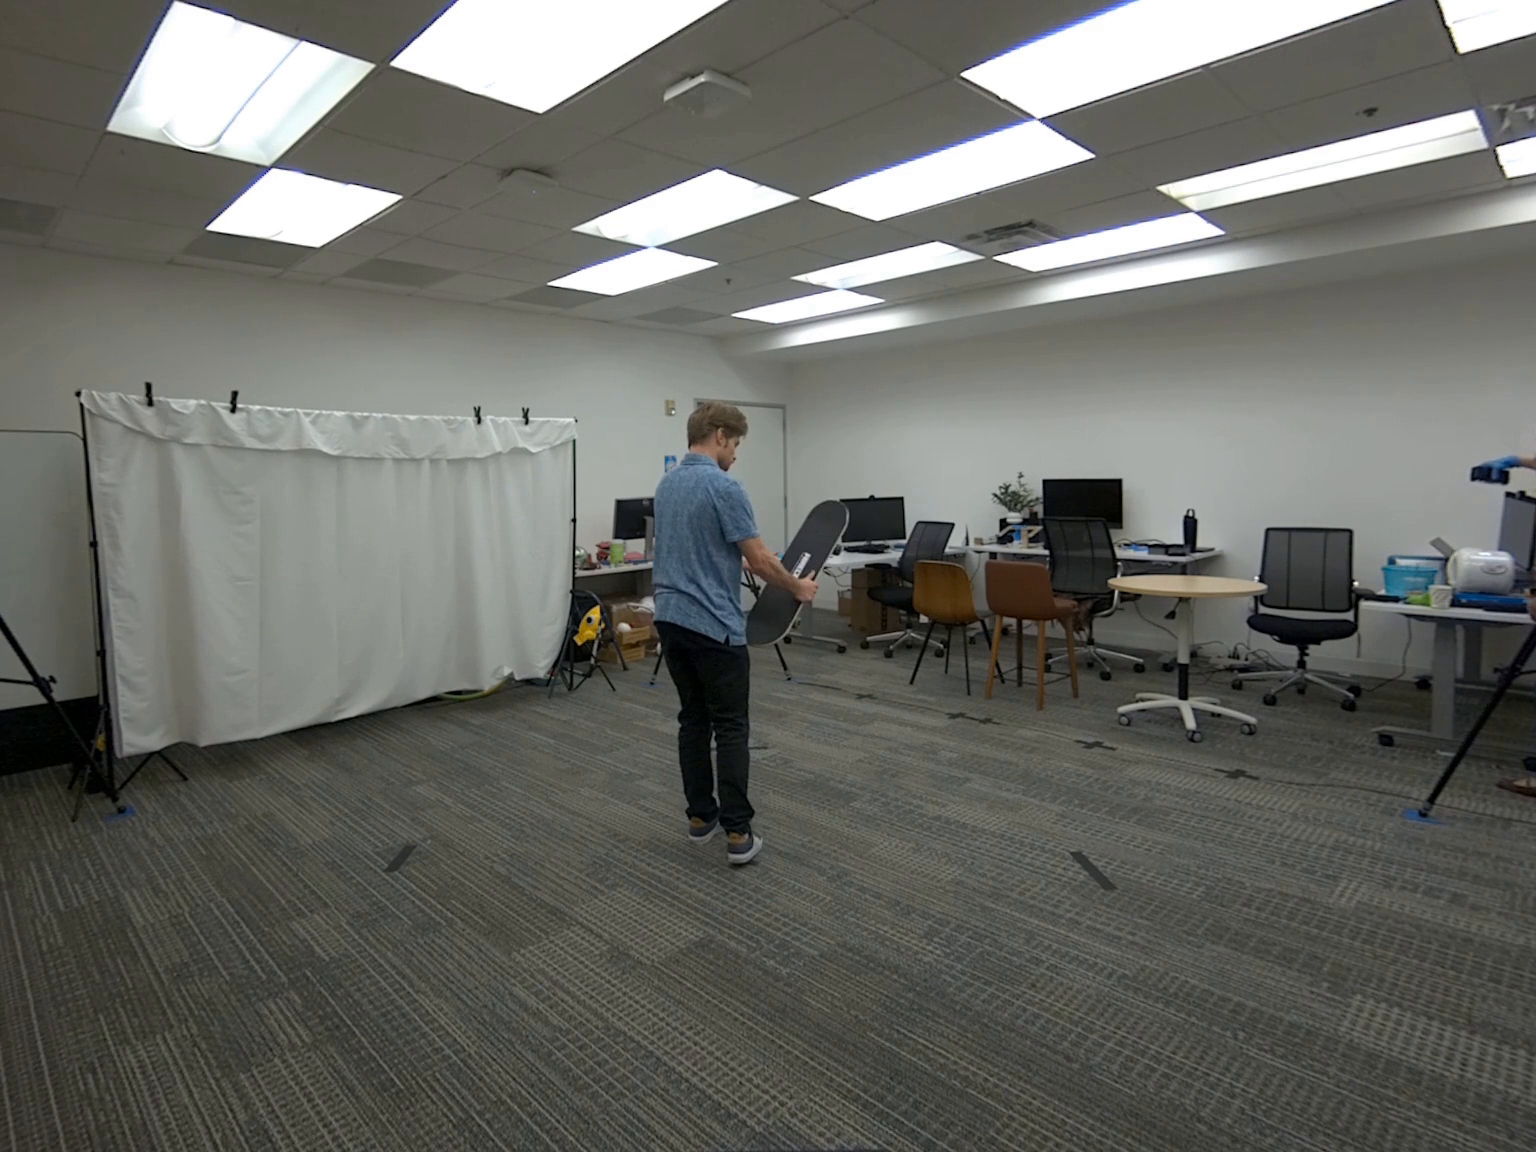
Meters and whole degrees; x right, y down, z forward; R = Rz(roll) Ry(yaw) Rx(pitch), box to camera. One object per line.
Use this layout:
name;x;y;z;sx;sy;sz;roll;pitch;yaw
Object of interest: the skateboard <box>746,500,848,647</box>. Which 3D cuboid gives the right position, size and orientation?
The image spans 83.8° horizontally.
skateboard;0.125;0.006;3.497;0.199;0.791;0.106;11;-35;30
